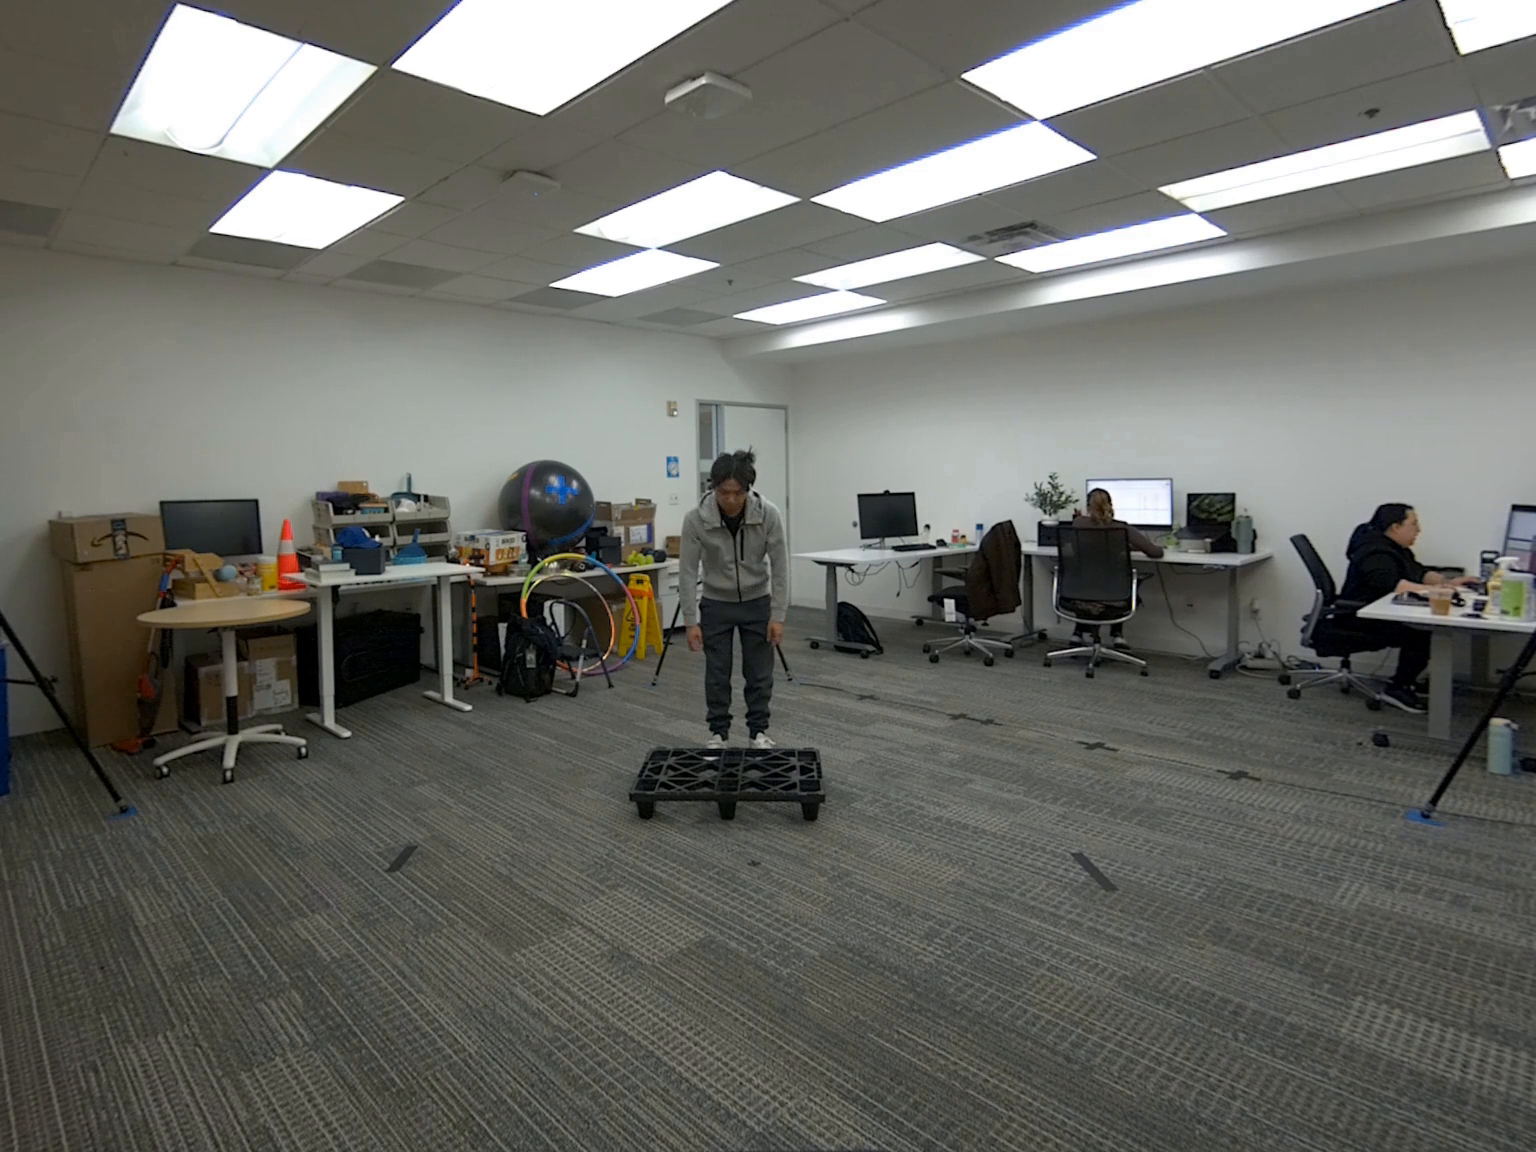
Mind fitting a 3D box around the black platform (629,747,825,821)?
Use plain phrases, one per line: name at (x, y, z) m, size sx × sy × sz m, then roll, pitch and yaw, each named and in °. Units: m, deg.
black platform at (-0.159, 0.906, 3.736) m, size 0.809 × 0.142 × 0.606 m, roll -1°, pitch 7°, yaw 3°
